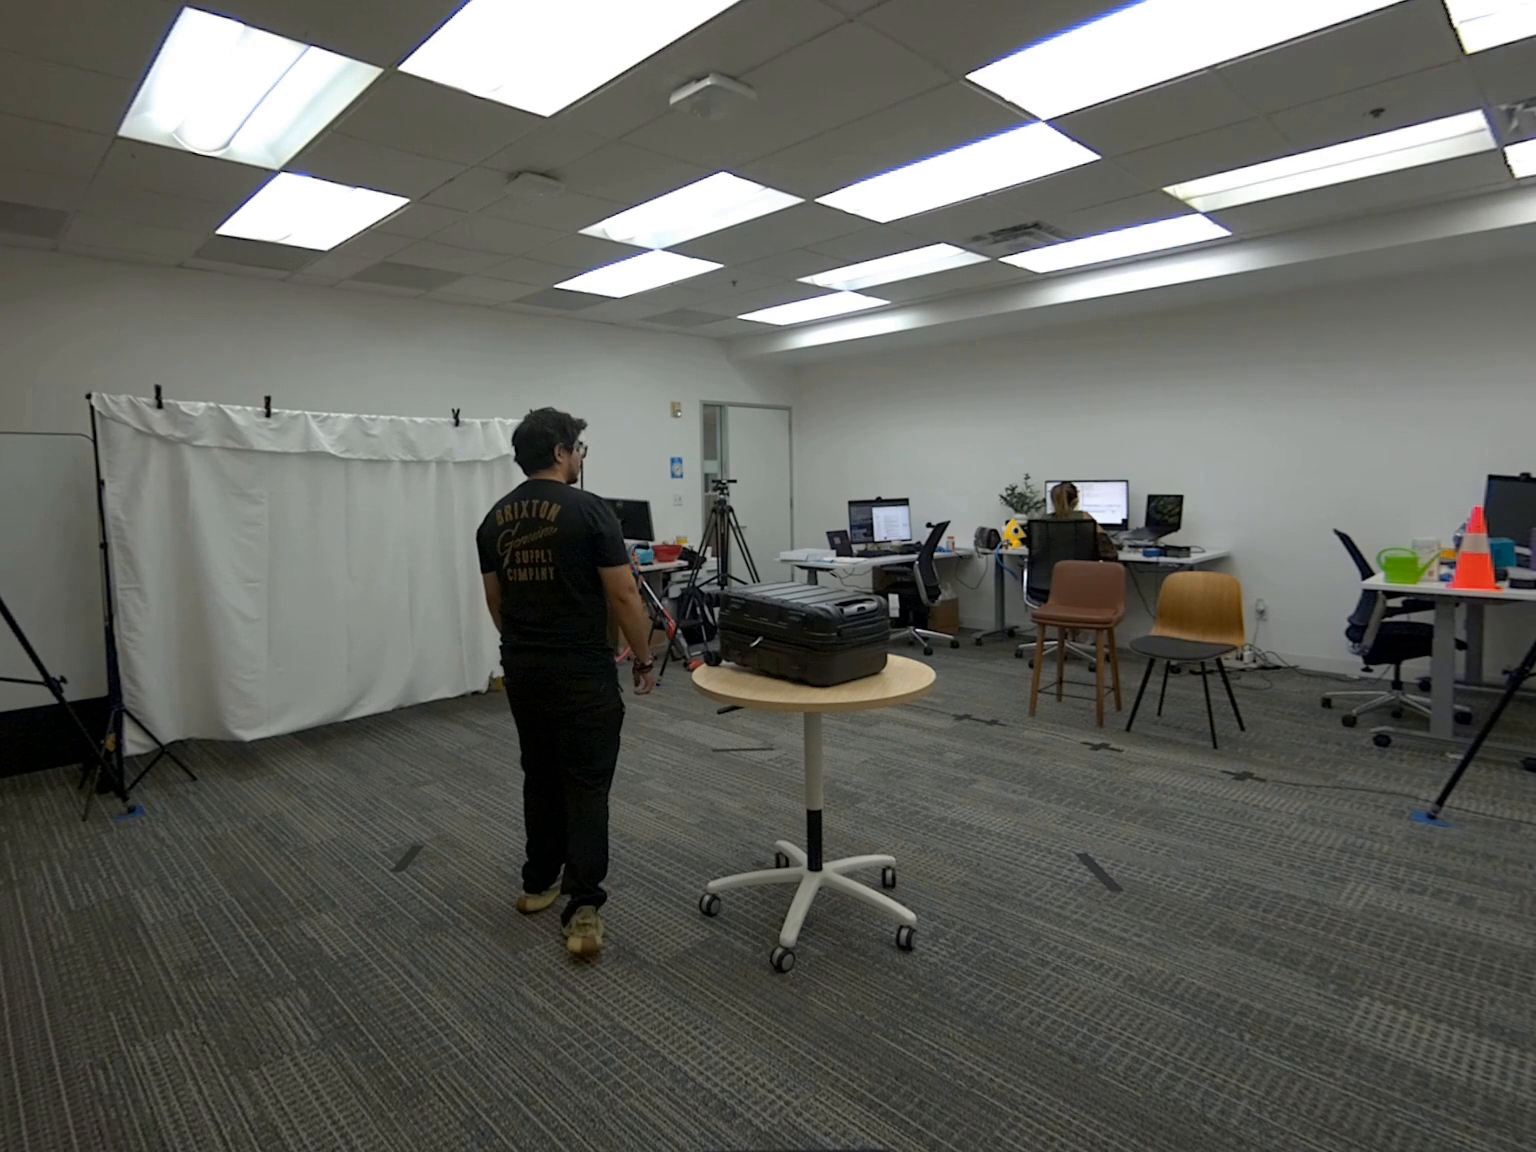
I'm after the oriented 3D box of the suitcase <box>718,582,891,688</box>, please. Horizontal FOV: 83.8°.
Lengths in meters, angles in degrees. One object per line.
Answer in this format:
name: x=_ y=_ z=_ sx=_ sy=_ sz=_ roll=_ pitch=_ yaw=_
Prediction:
suitcase: x=0.106 y=0.176 z=2.758 sx=0.567 sy=0.247 sz=0.366 roll=7 pitch=10 yaw=44
